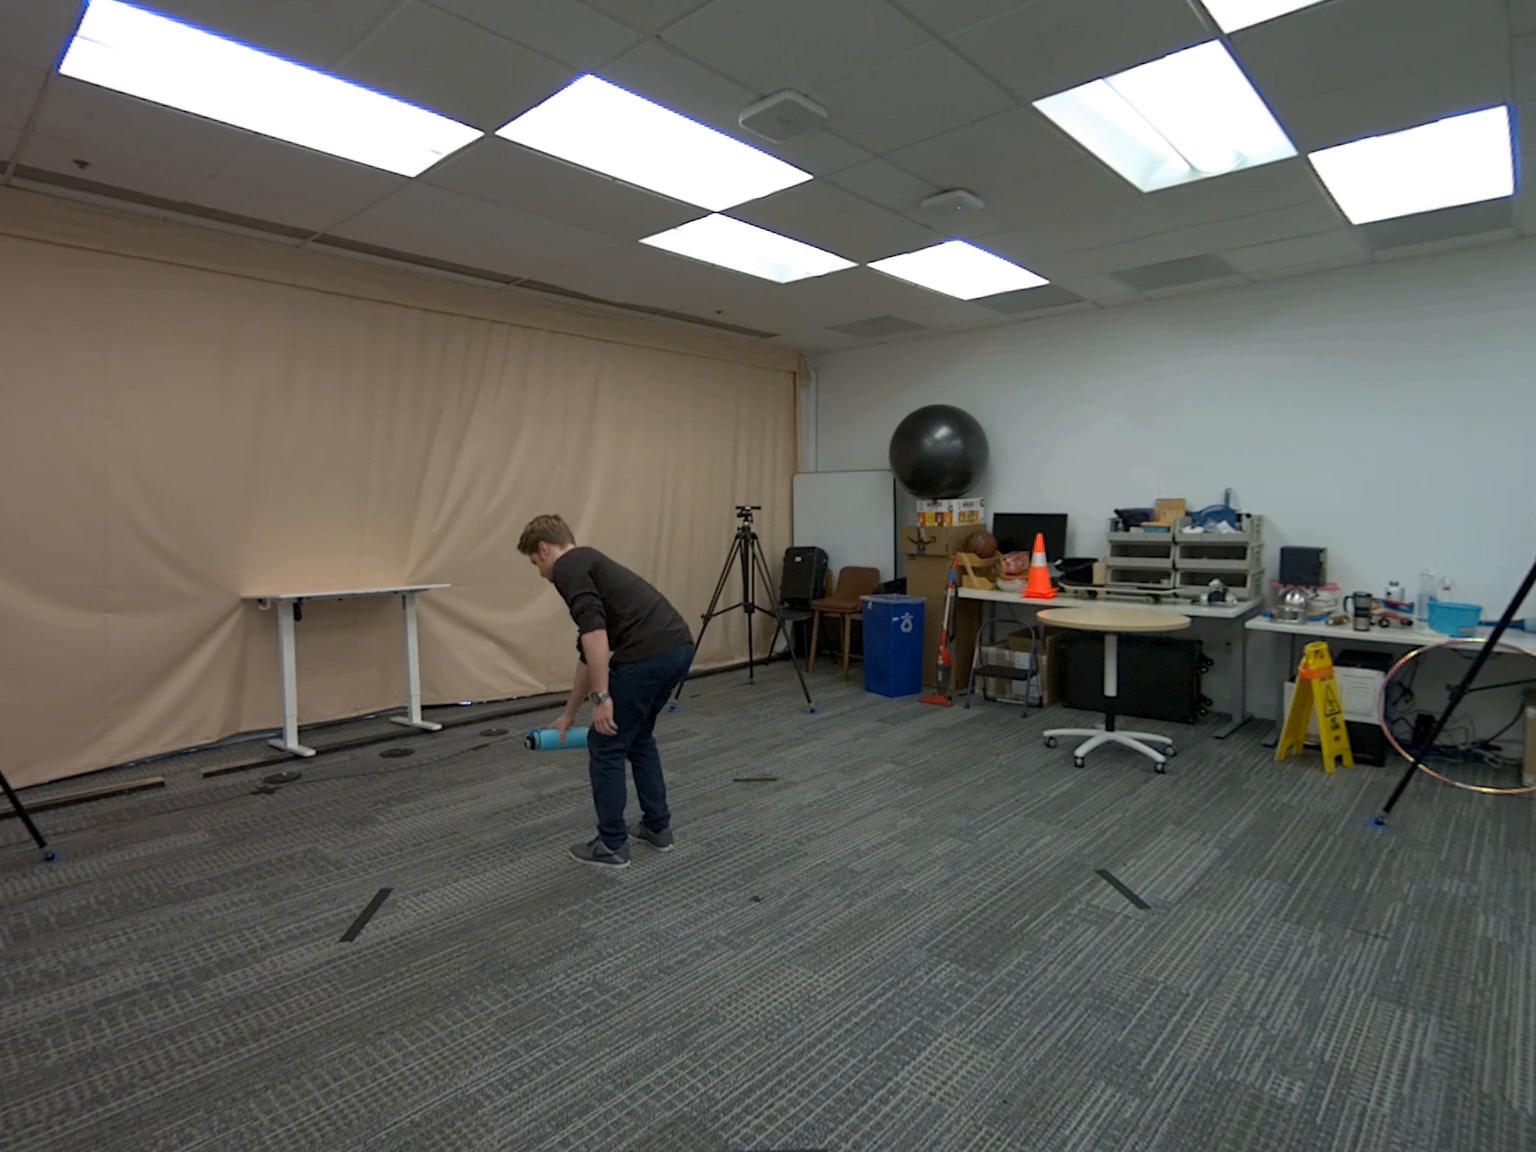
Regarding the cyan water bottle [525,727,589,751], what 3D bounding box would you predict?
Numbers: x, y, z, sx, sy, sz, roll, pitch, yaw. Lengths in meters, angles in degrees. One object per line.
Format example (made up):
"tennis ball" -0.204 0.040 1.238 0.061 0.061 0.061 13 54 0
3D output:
"cyan water bottle" -0.905 0.696 3.610 0.276 0.092 0.095 2 2 -28
